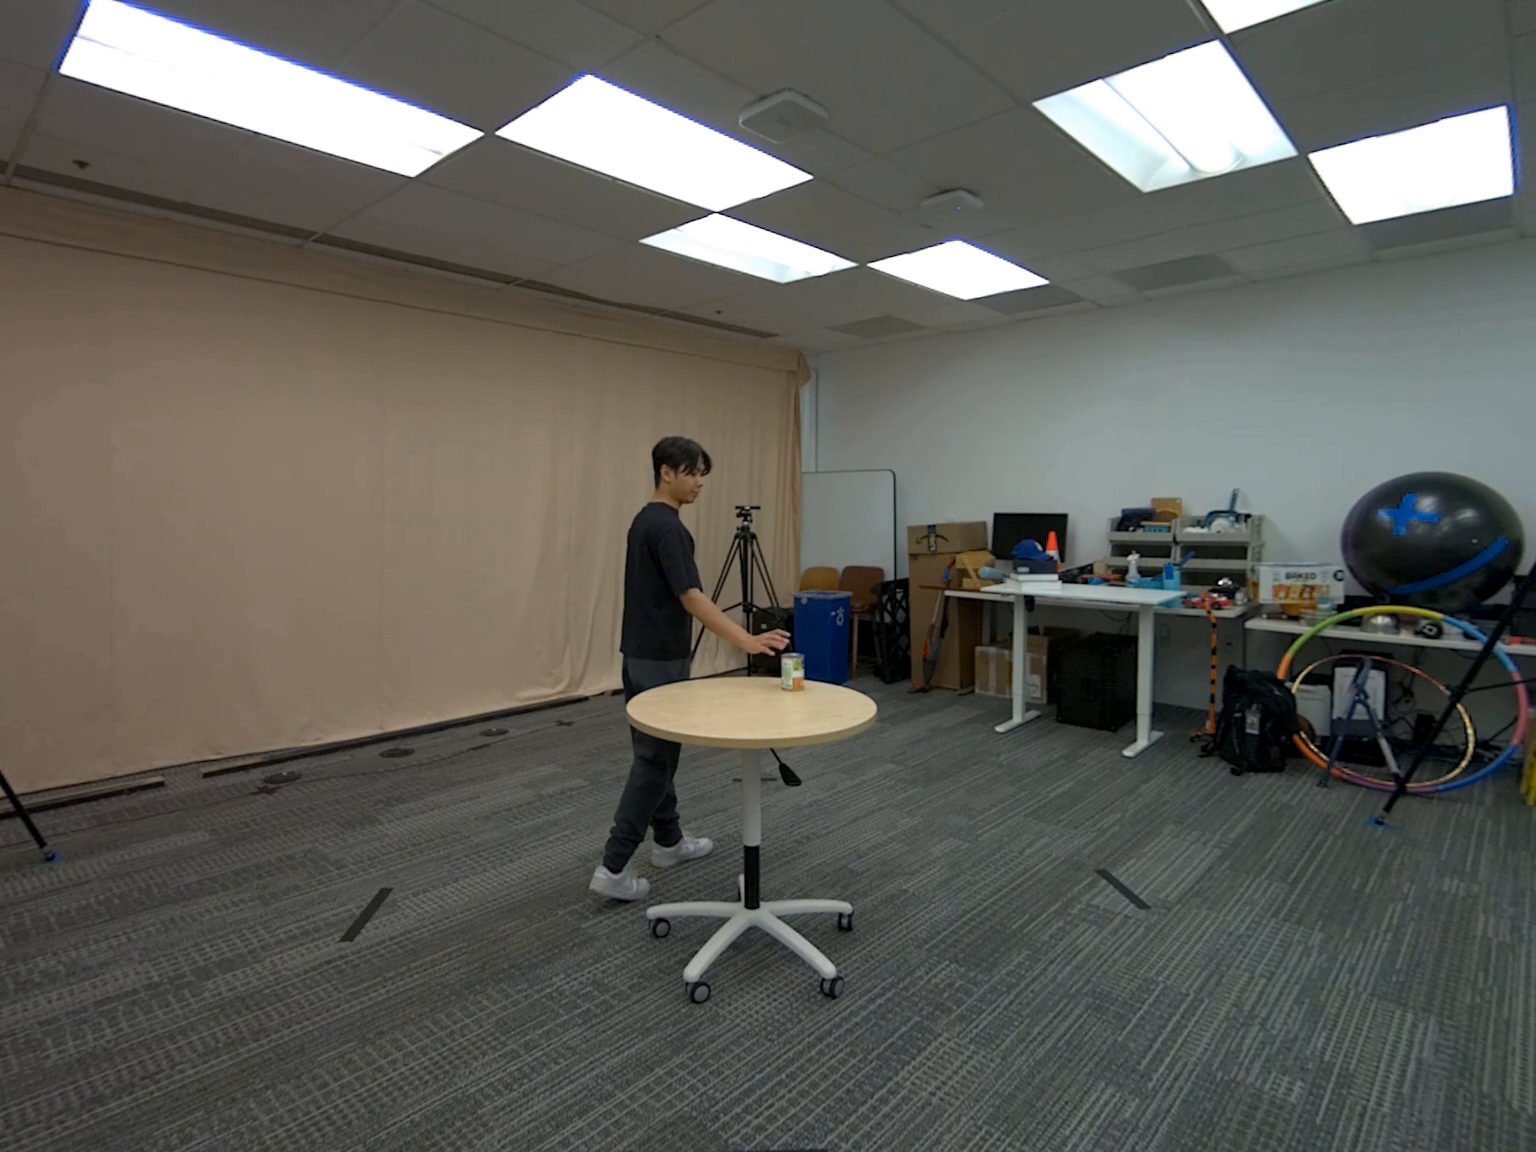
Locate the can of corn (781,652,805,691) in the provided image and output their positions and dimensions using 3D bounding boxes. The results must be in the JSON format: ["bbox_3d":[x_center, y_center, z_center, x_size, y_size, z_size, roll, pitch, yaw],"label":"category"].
[{"bbox_3d":[0.086,0.321,2.780,0.074,0.110,0.074,-2,6,-2],"label":"can of corn"}]
